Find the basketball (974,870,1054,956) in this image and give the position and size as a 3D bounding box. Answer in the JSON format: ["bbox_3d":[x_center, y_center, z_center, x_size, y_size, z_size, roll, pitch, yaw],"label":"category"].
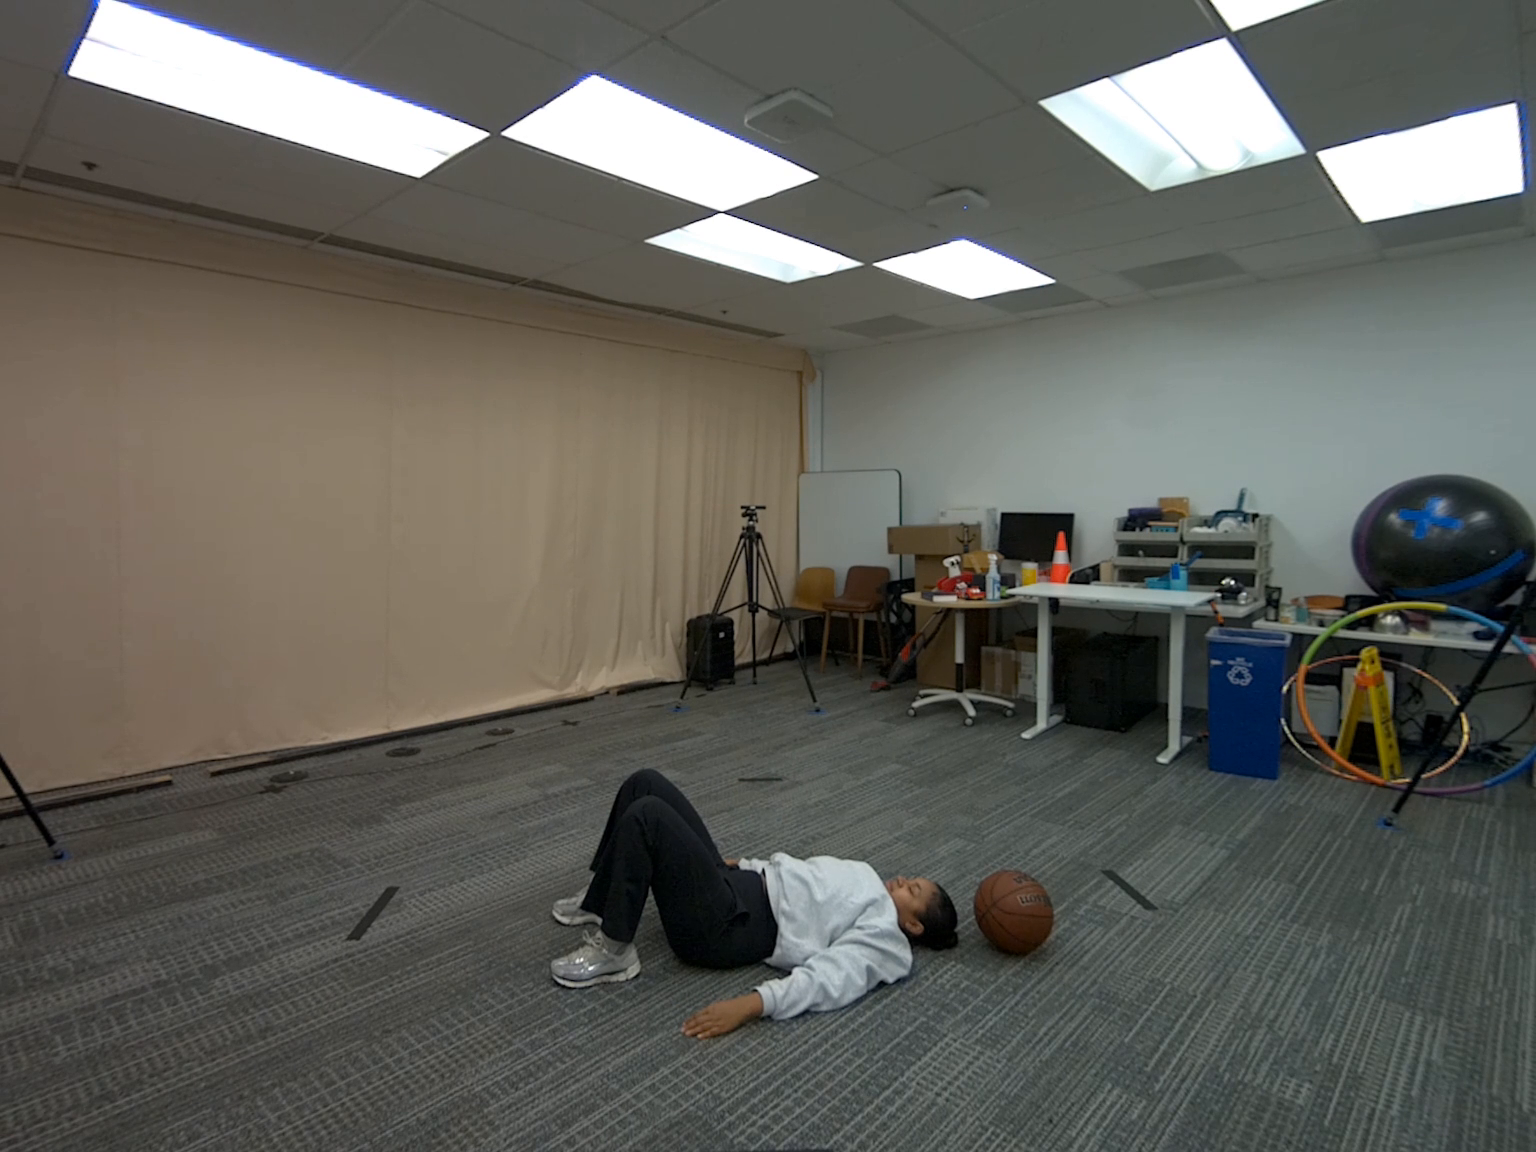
[{"bbox_3d":[0.780,1.058,2.641,0.236,0.235,0.237,0,4,-2],"label":"basketball"}]
